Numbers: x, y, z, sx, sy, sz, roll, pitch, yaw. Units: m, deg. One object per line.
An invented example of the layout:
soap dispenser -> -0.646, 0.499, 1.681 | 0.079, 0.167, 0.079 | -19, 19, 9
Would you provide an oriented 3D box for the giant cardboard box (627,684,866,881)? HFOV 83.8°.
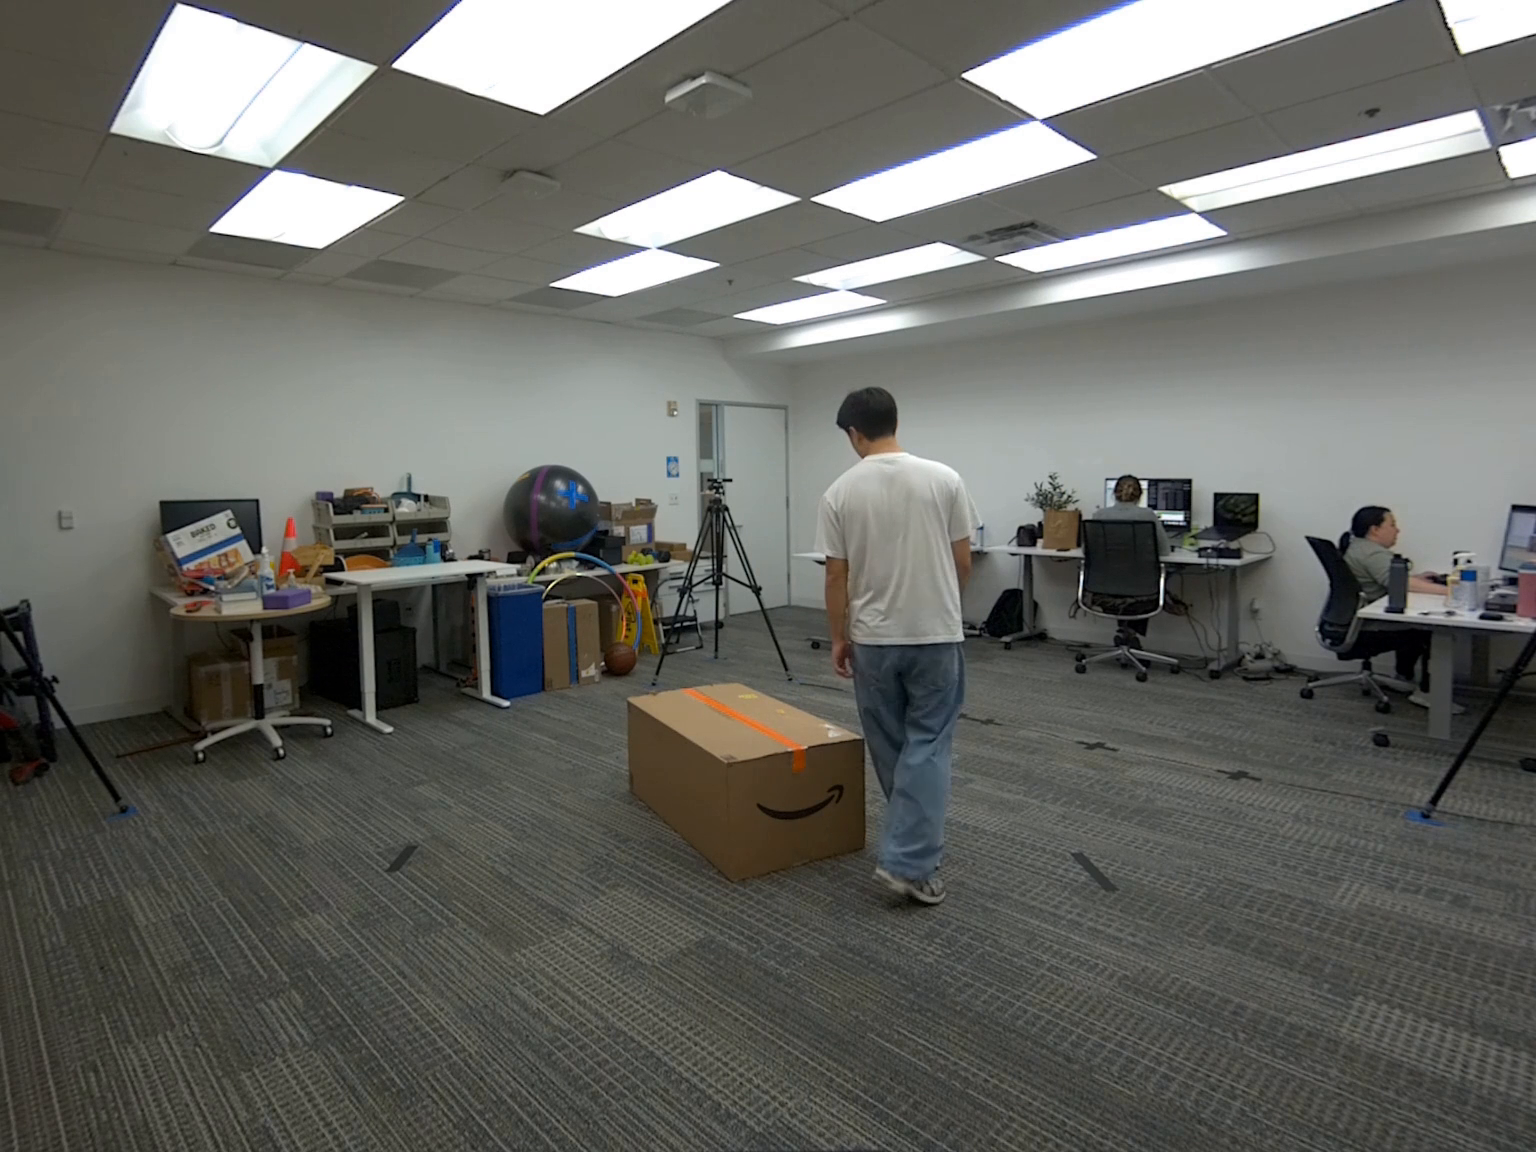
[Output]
giant cardboard box -> -0.137, 0.785, 3.527 | 0.564, 0.424, 1.054 | -3, 6, -28
